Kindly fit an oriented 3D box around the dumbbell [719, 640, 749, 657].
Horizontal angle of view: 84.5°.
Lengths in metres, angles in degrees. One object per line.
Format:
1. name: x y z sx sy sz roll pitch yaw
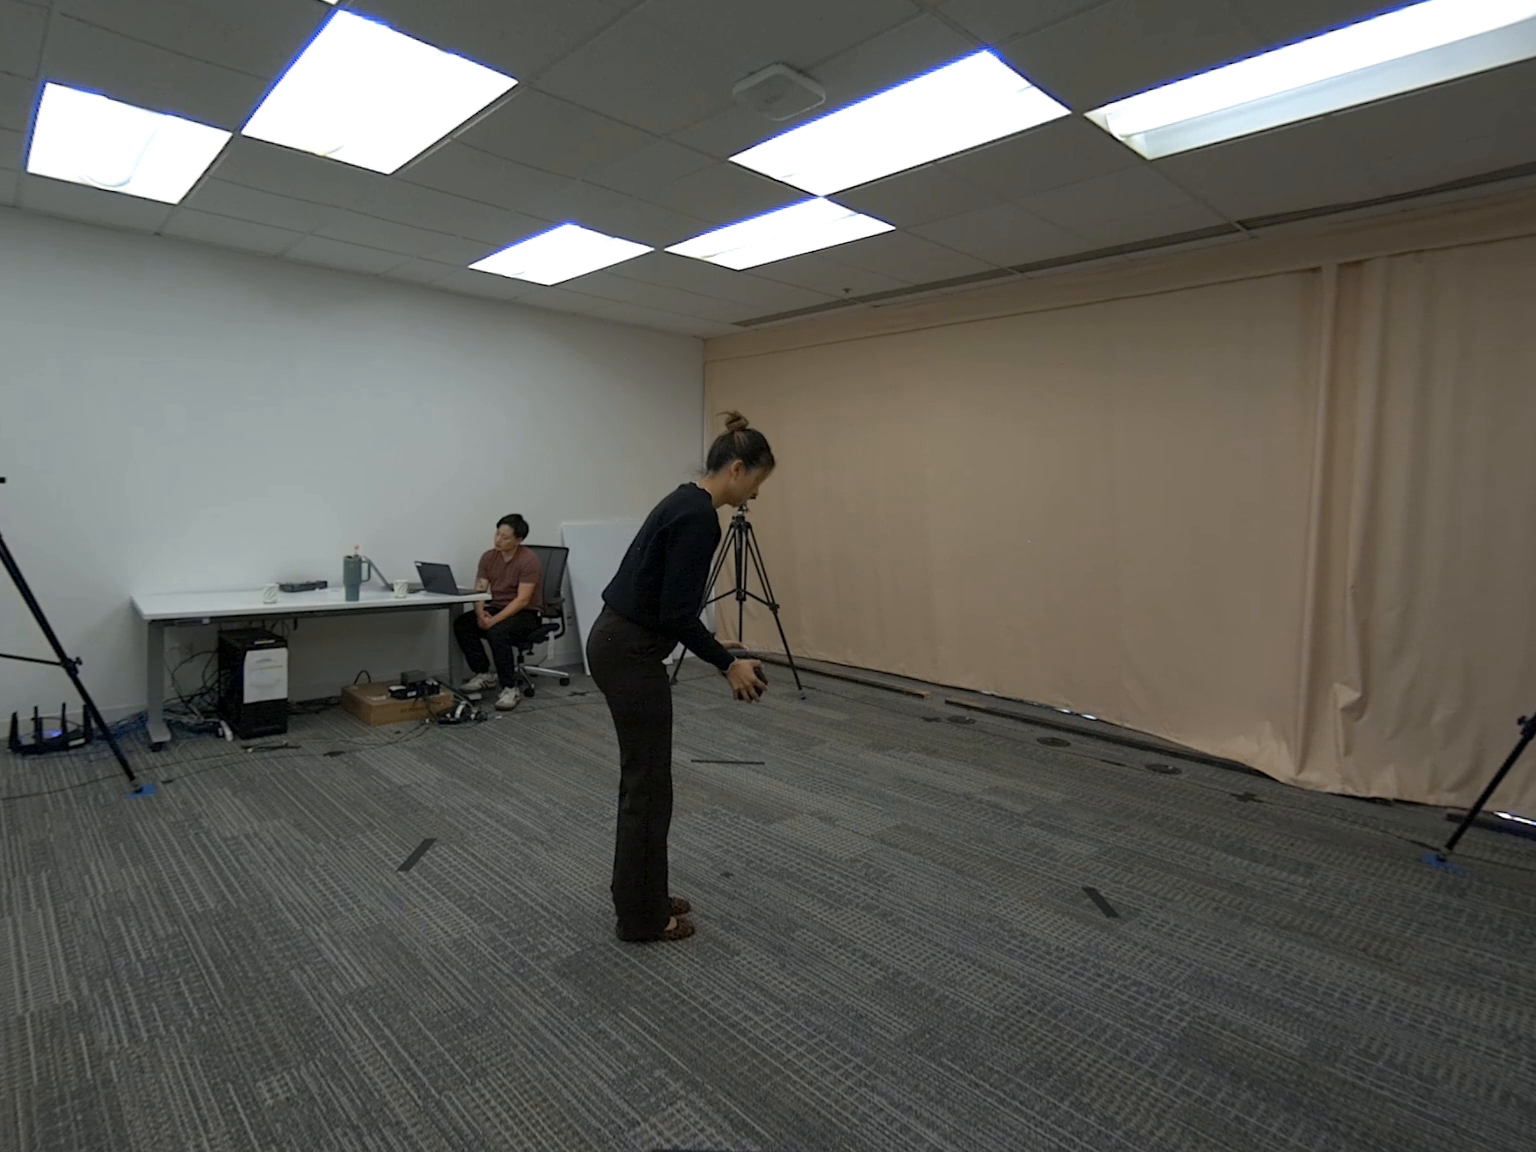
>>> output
1. dumbbell: -0.096 0.320 2.734 0.108 0.122 0.296 -26 9 -2
